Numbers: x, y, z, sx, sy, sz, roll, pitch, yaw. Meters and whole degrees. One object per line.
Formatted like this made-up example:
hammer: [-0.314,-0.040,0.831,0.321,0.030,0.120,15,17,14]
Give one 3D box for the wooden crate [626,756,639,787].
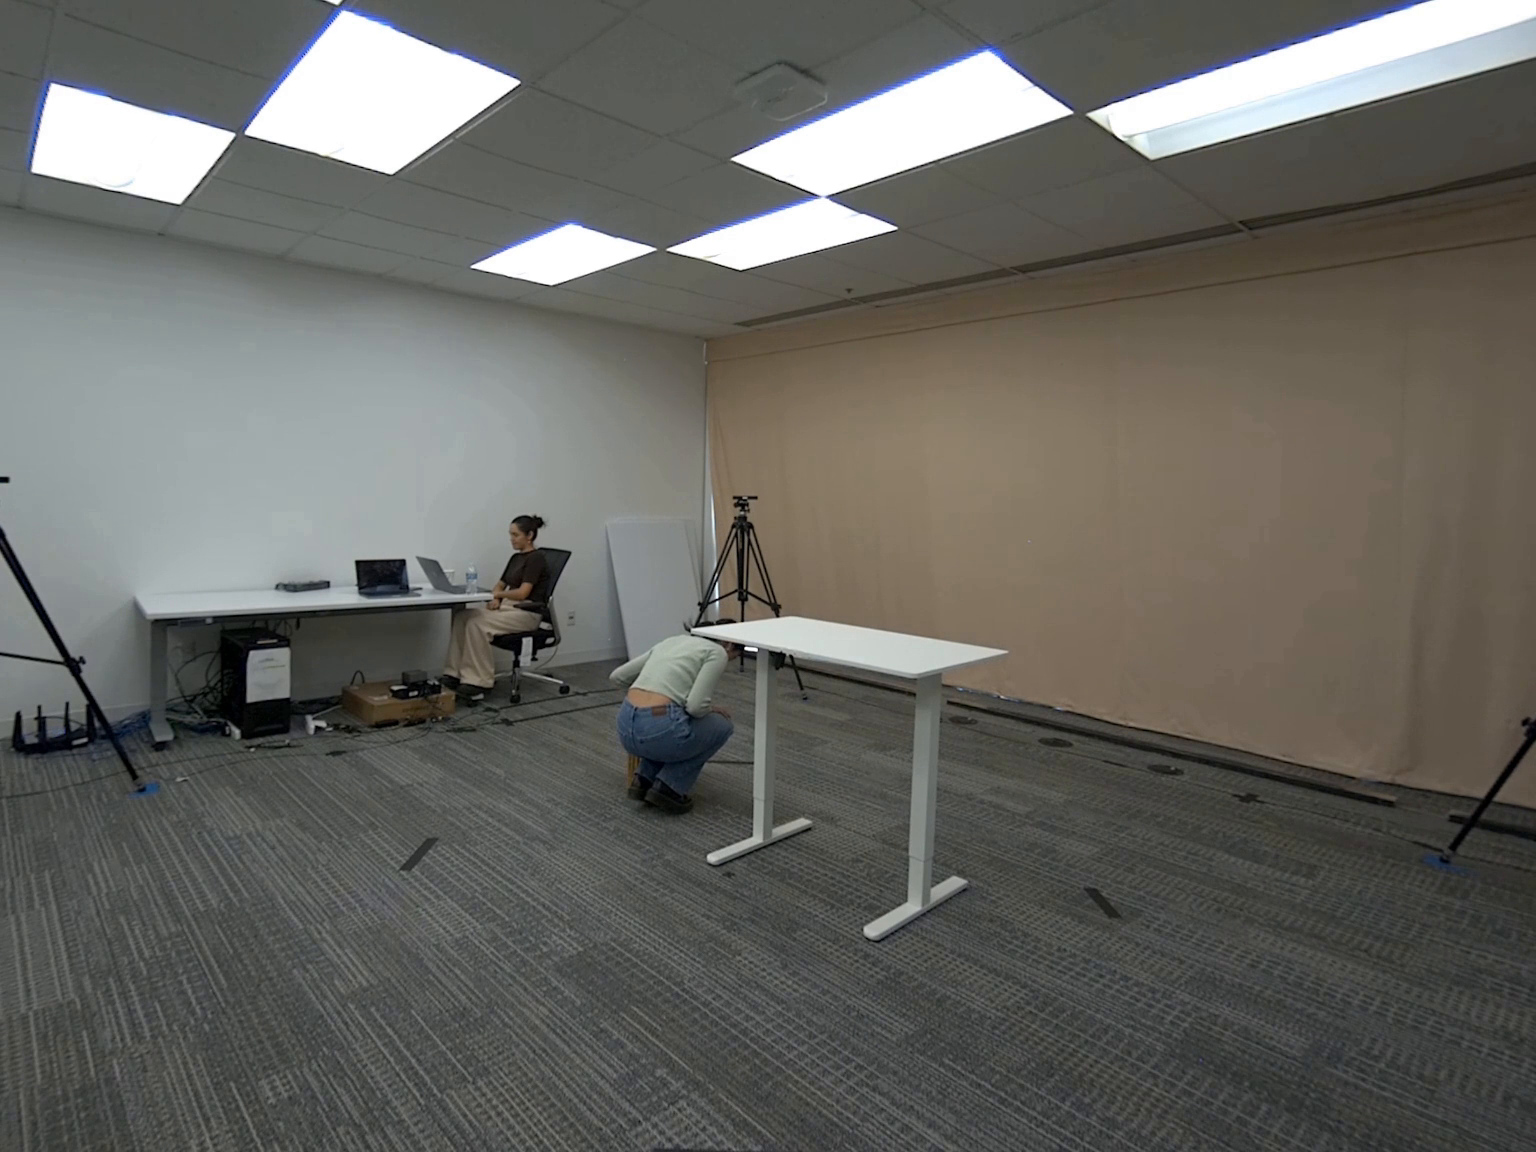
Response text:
wooden crate: [-0.562,0.838,4.108,0.271,0.323,0.306,1,8,-10]
